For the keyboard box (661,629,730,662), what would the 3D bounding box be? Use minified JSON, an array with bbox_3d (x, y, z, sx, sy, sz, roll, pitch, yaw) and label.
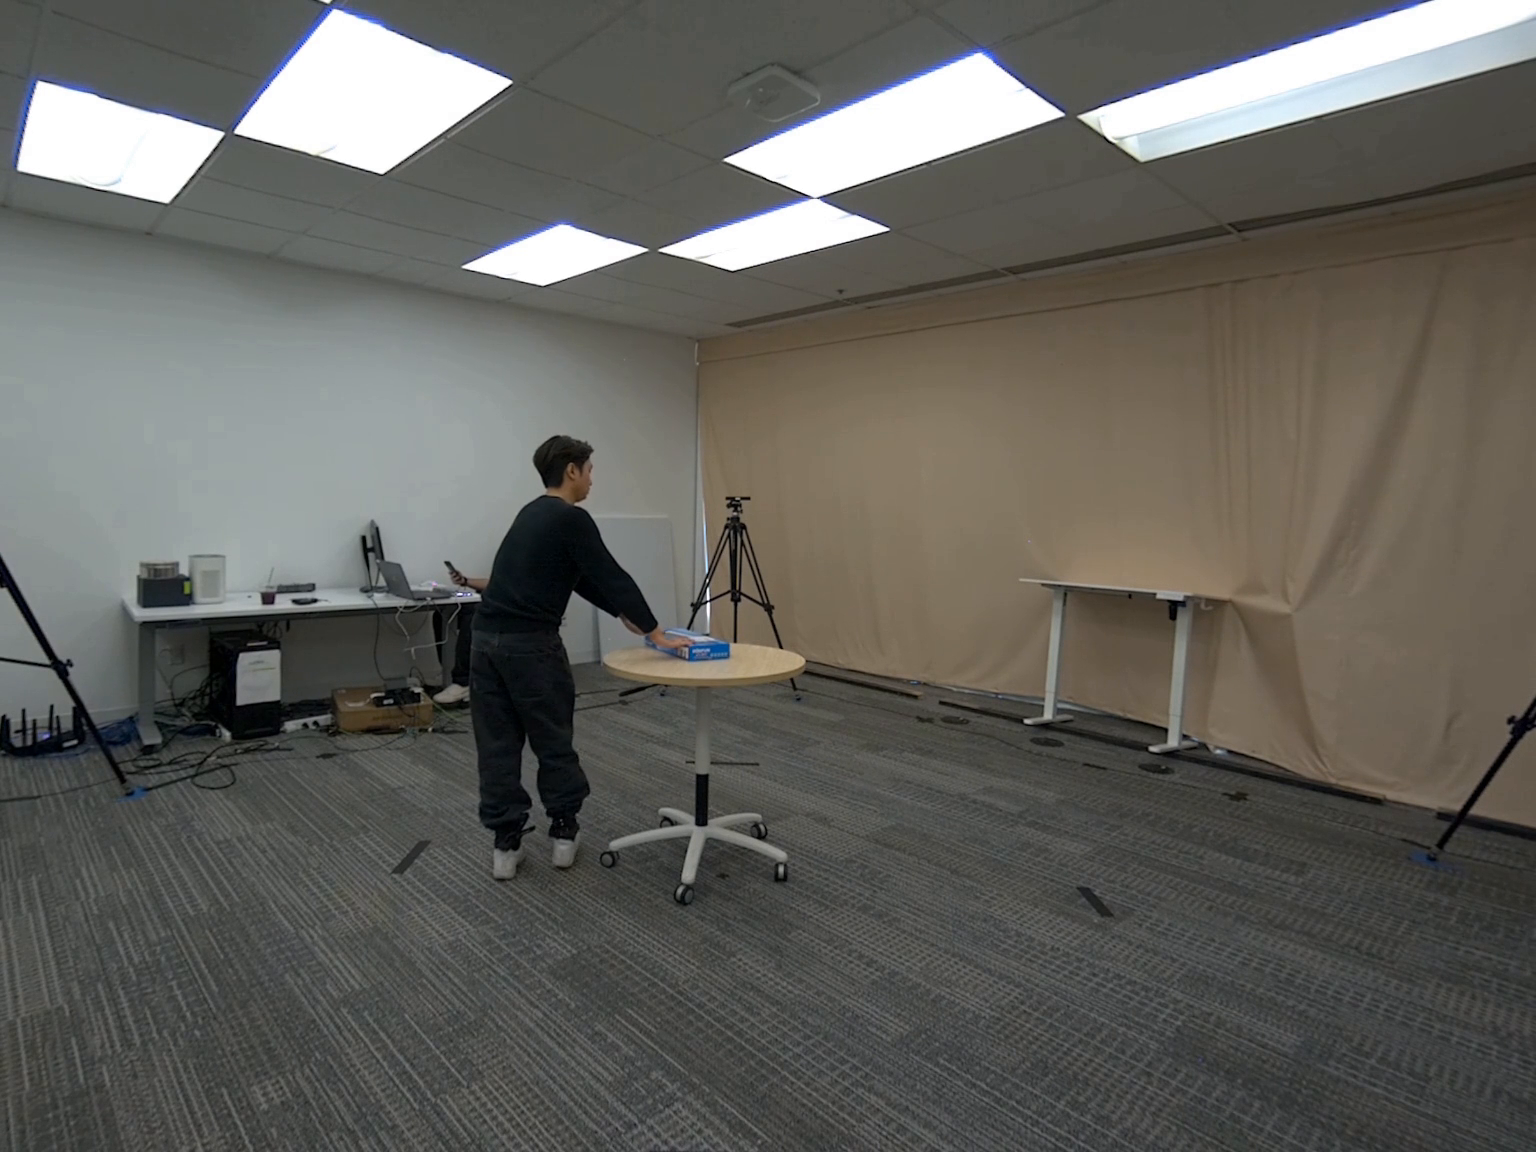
[{"bbox_3d":[-0.348,0.269,3.355,0.172,0.059,0.447,-3,7,-30],"label":"keyboard box"}]
